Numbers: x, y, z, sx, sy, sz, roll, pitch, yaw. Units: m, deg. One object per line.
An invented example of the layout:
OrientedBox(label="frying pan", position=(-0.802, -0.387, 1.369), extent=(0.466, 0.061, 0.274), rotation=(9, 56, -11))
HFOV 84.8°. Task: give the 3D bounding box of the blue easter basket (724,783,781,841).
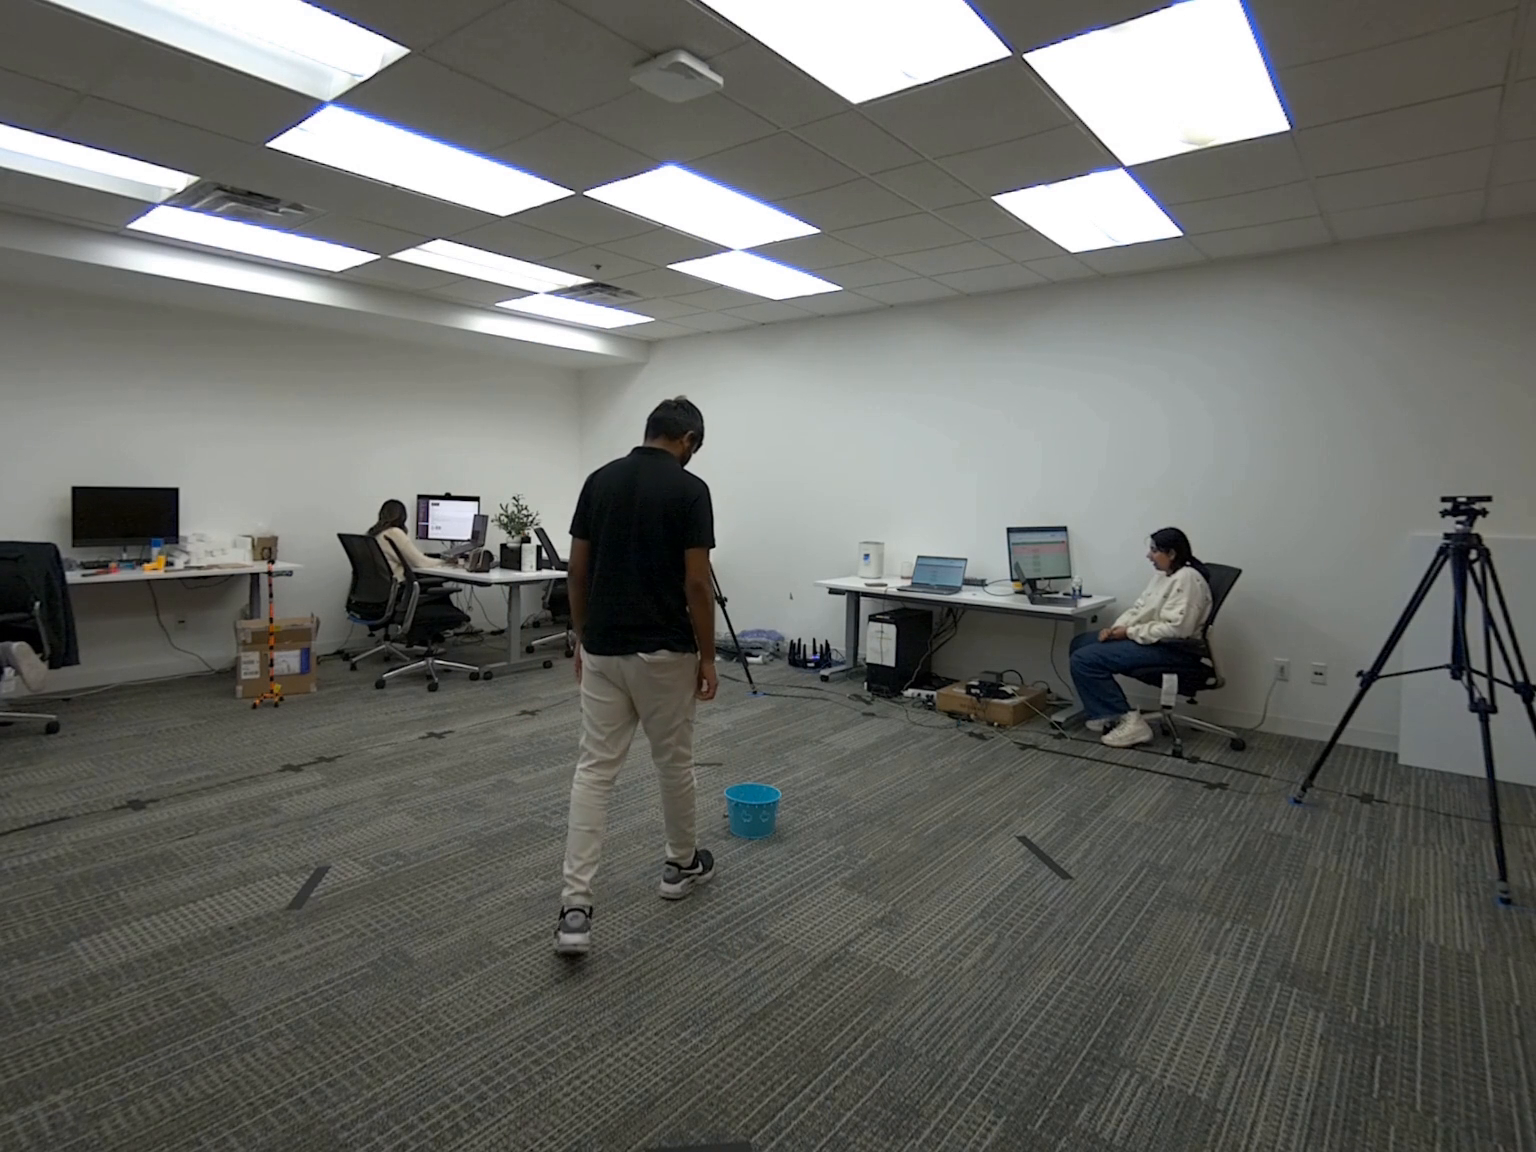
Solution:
OrientedBox(label="blue easter basket", position=(-0.077, 0.952, 3.480), extent=(0.243, 0.155, 0.245), rotation=(1, 5, -2))
